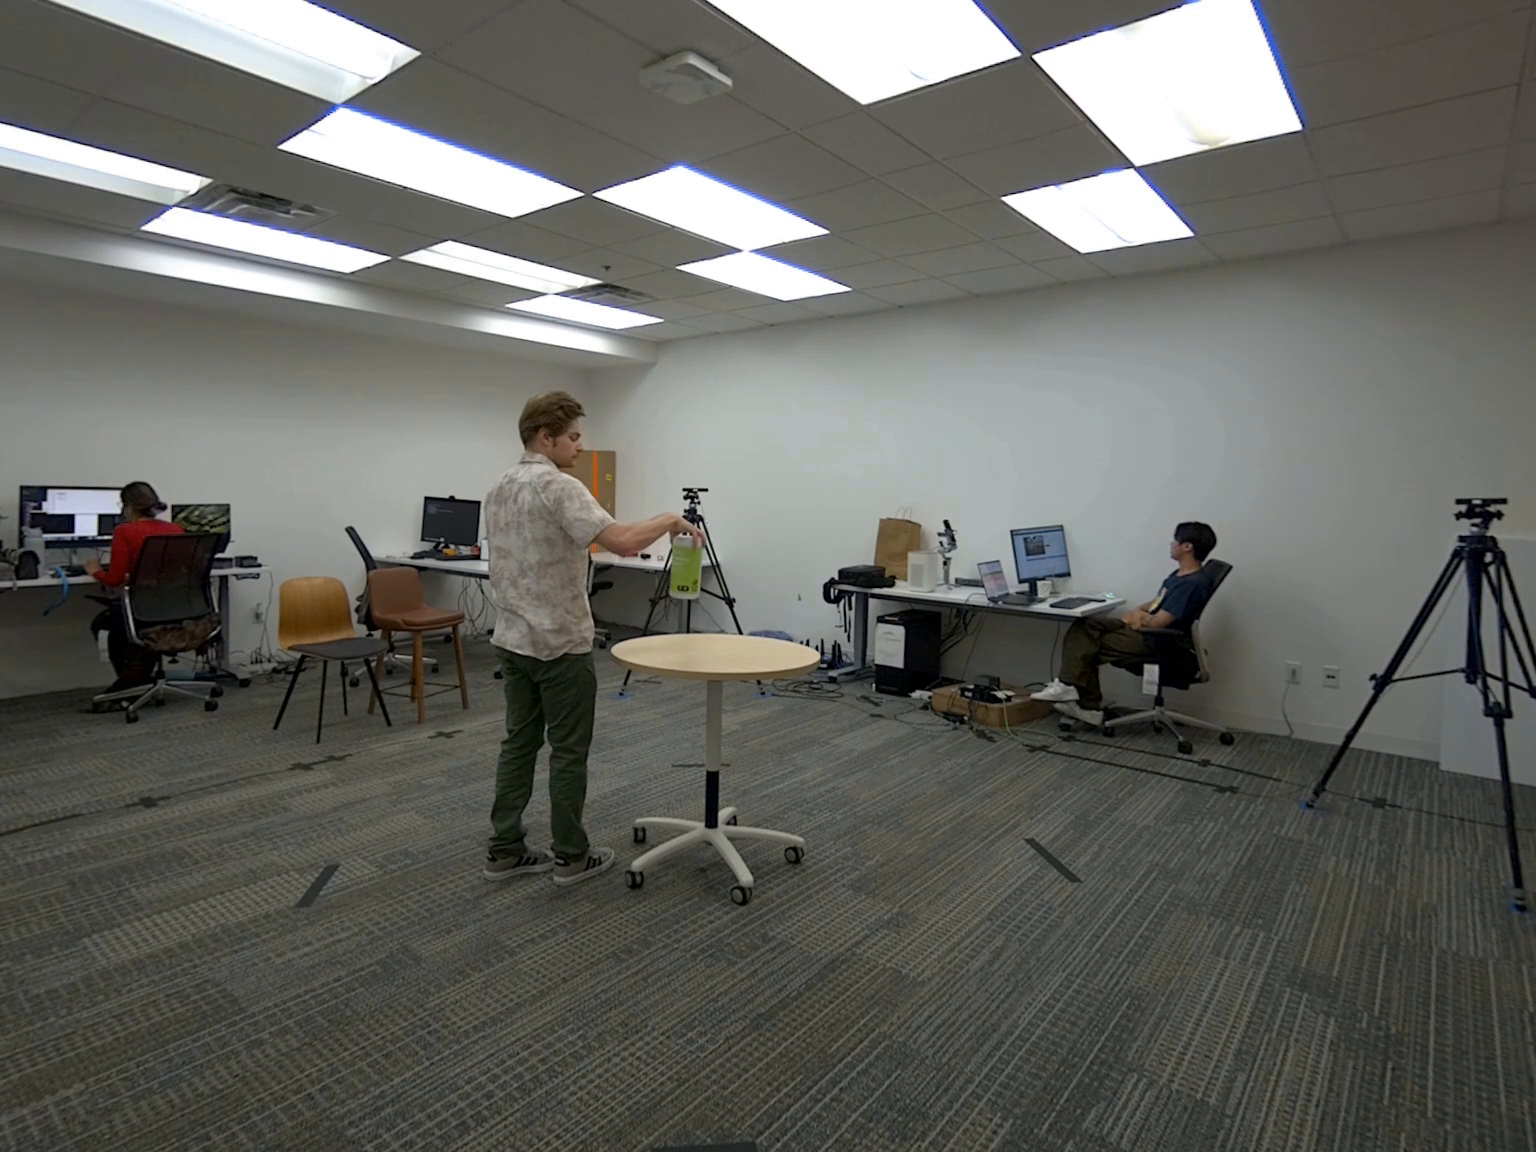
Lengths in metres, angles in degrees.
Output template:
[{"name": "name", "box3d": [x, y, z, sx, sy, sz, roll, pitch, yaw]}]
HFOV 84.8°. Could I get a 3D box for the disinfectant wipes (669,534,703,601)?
[{"name": "disinfectant wipes", "box3d": [-0.305, -0.031, 3.043, 0.117, 0.216, 0.119, 4, 6, -2]}]
